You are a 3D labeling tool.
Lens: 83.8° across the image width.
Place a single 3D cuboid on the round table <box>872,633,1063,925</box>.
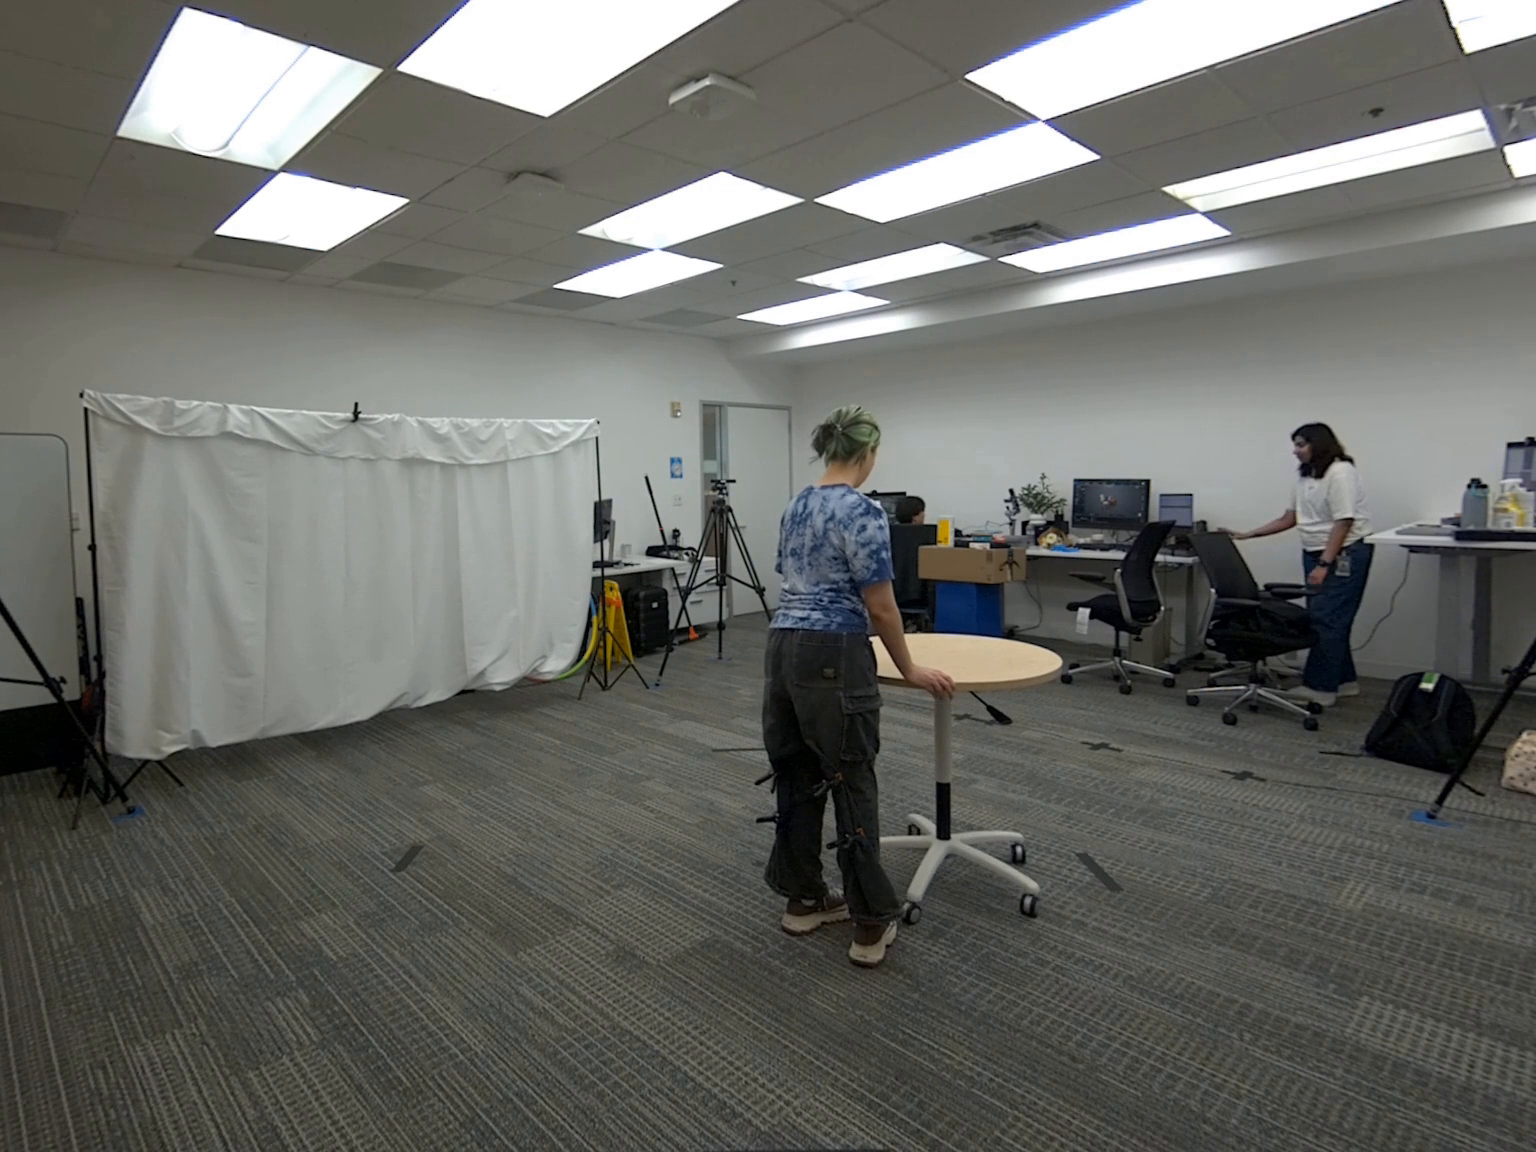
[{"bbox_3d":[0.610,0.665,2.950,0.763,0.791,0.768,-1,5,-2],"label":"round table"}]
